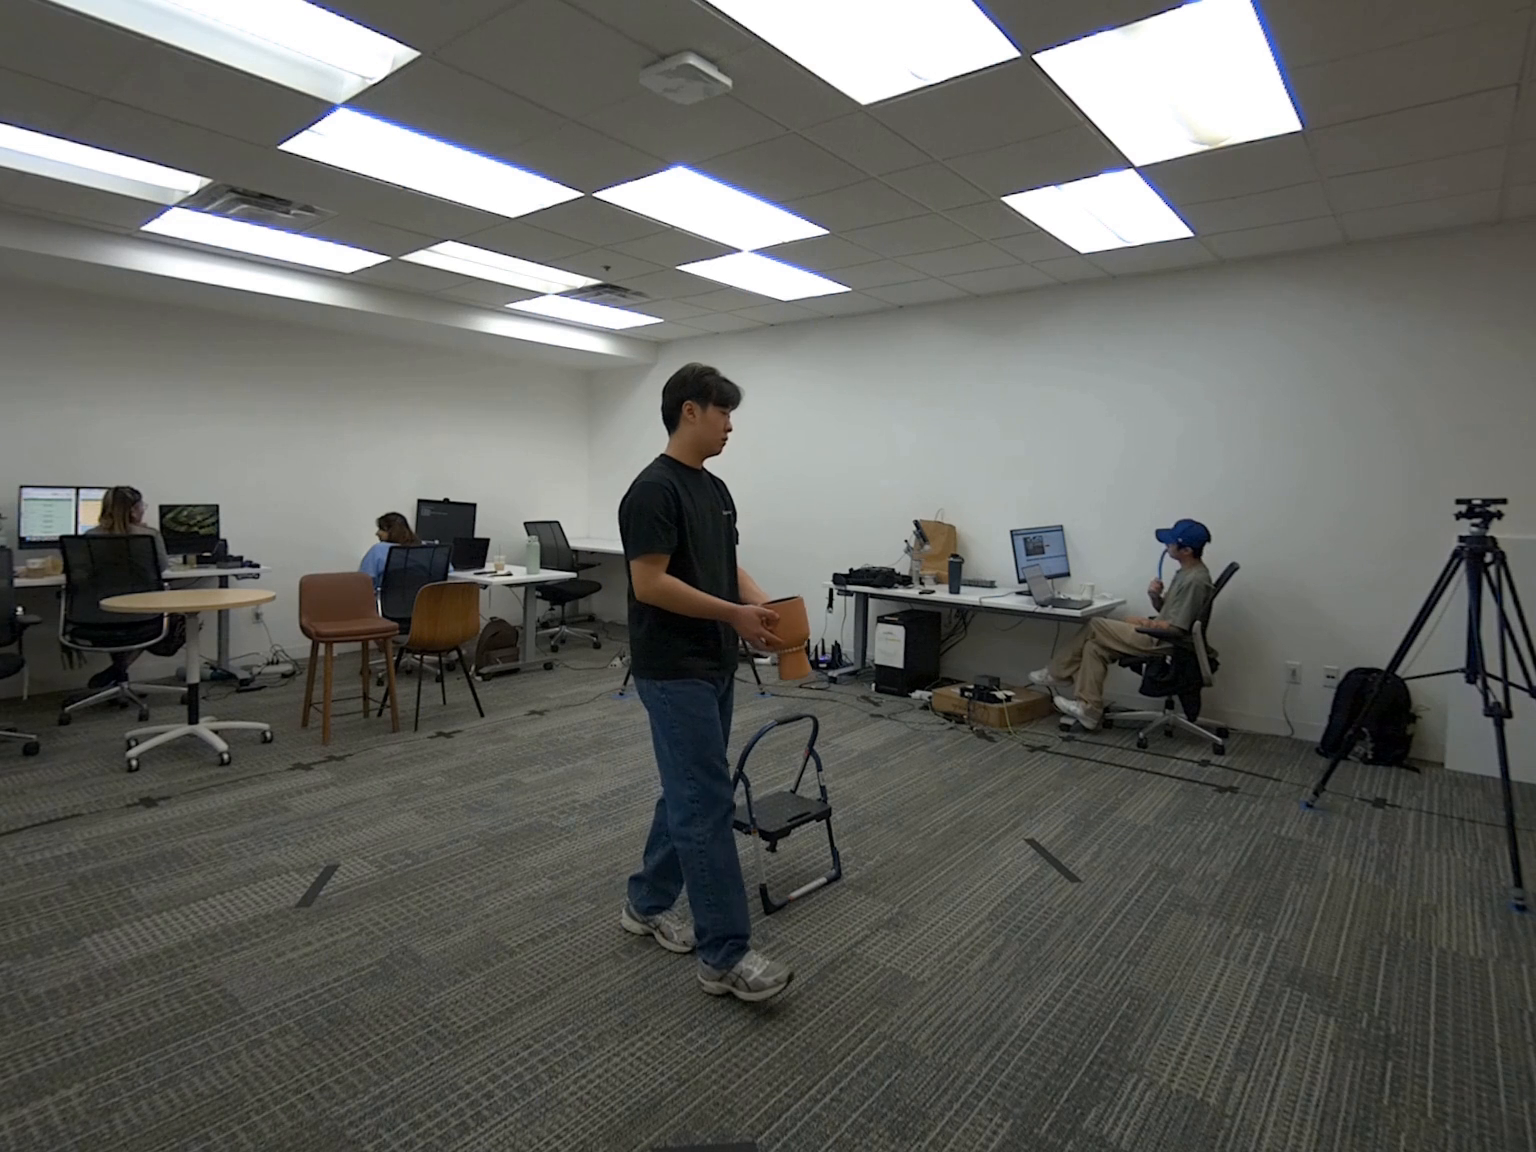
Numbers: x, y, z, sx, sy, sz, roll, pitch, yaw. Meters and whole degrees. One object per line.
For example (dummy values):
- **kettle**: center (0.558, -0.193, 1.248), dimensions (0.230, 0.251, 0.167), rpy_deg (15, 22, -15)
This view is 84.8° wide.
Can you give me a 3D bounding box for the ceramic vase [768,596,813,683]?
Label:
- **ceramic vase**: center (0.047, 0.179, 2.426), dimensions (0.157, 0.220, 0.135), rpy_deg (-11, 0, -9)
